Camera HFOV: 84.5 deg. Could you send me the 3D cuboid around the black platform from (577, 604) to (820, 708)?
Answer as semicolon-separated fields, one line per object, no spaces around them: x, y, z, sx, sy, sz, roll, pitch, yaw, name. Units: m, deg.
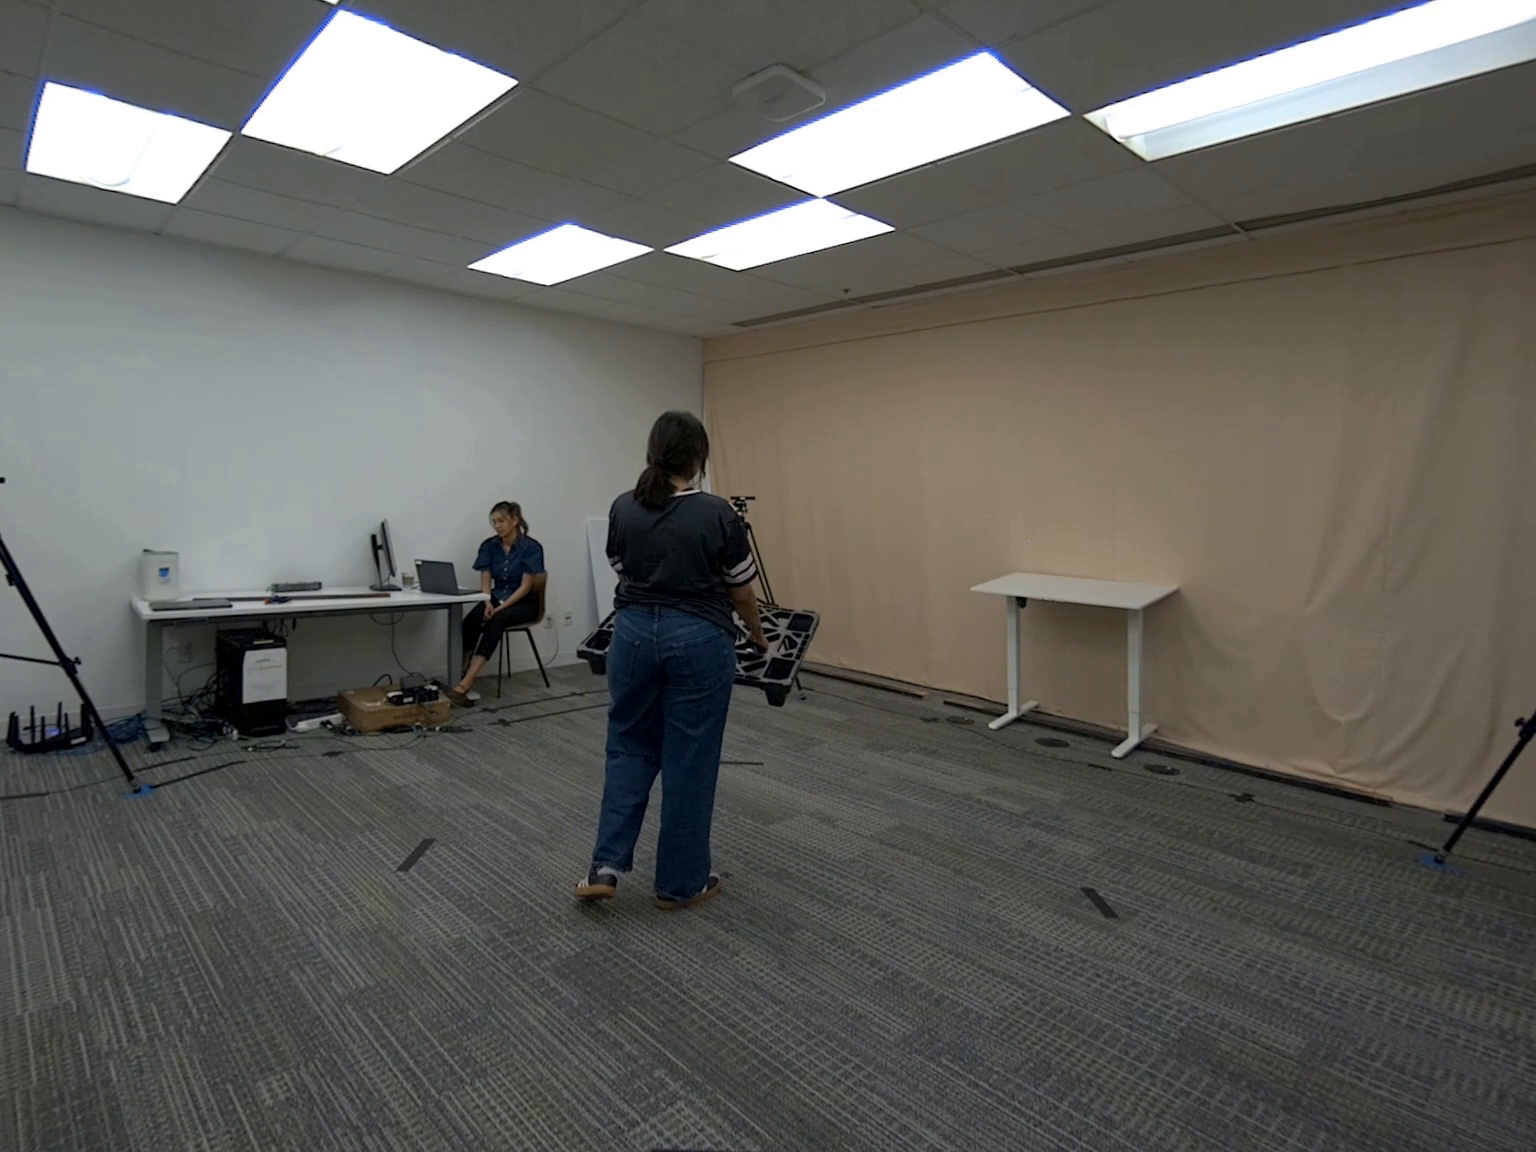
-0.254;0.267;3.243;0.816;0.141;0.606;8;23;14;black platform
